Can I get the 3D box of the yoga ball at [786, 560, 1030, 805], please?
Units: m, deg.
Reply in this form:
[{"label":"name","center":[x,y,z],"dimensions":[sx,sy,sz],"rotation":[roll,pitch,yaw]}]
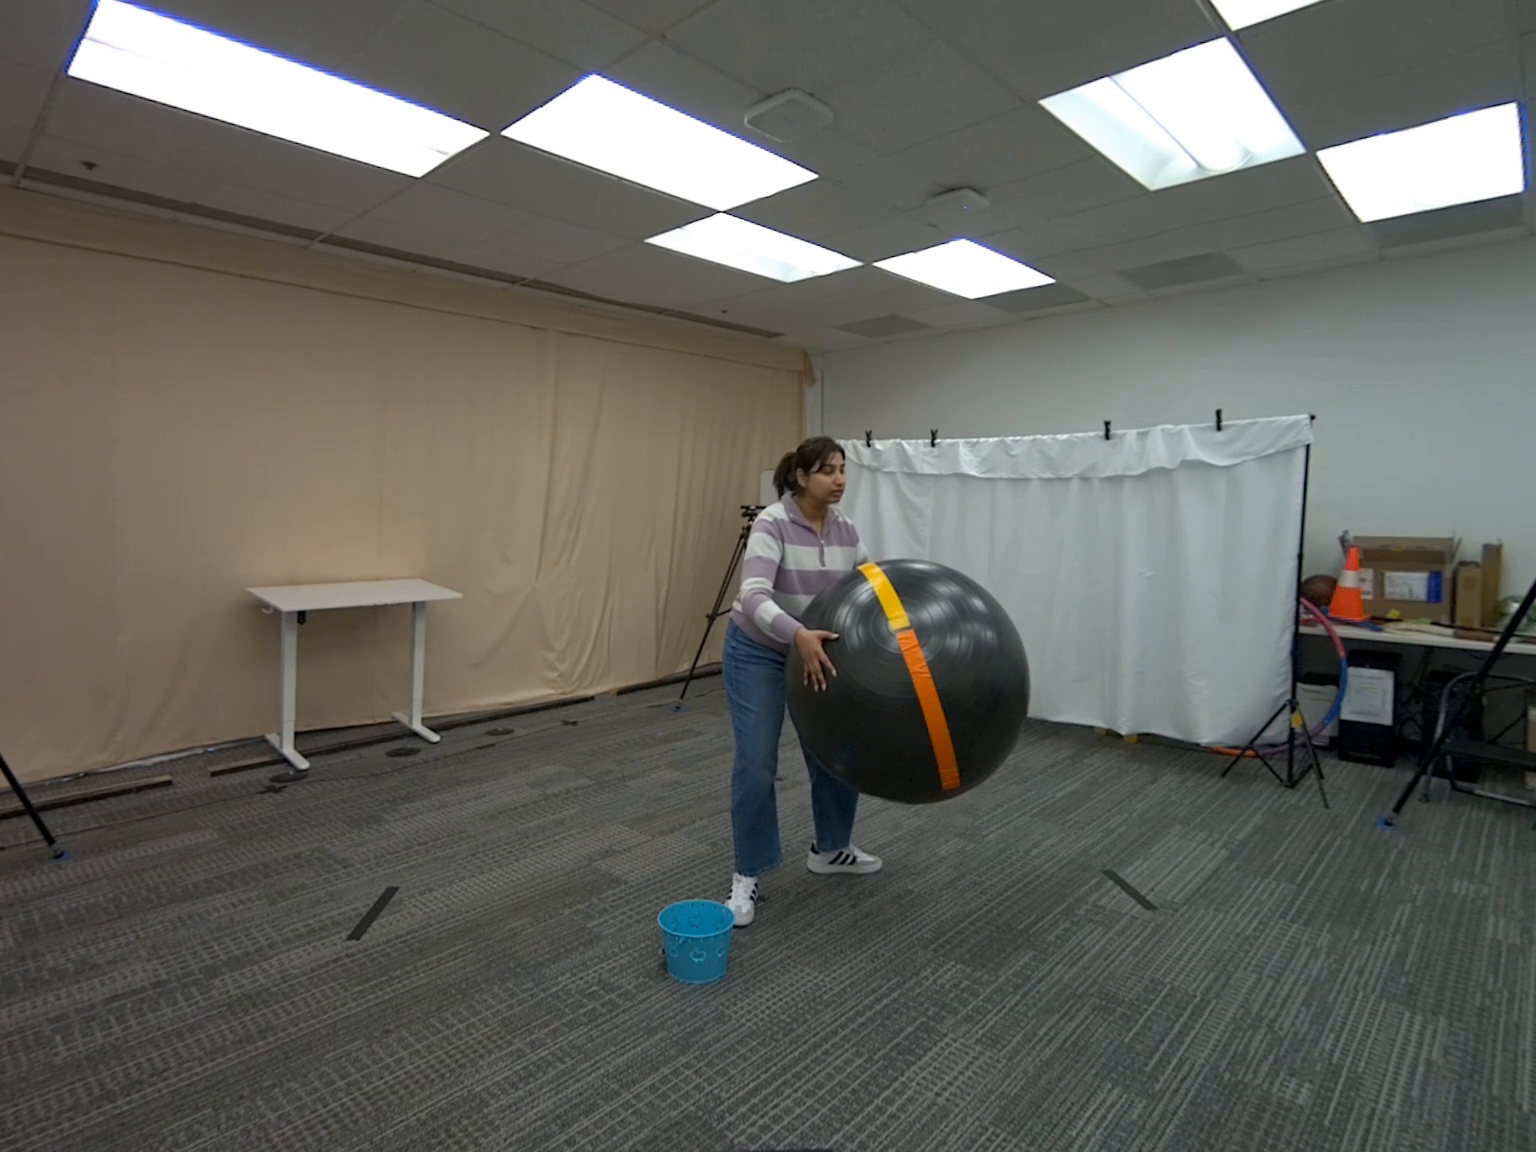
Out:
[{"label":"yoga ball","center":[0.445,0.338,2.656],"dimensions":[0.757,0.756,0.761],"rotation":[0,4,-2]}]
